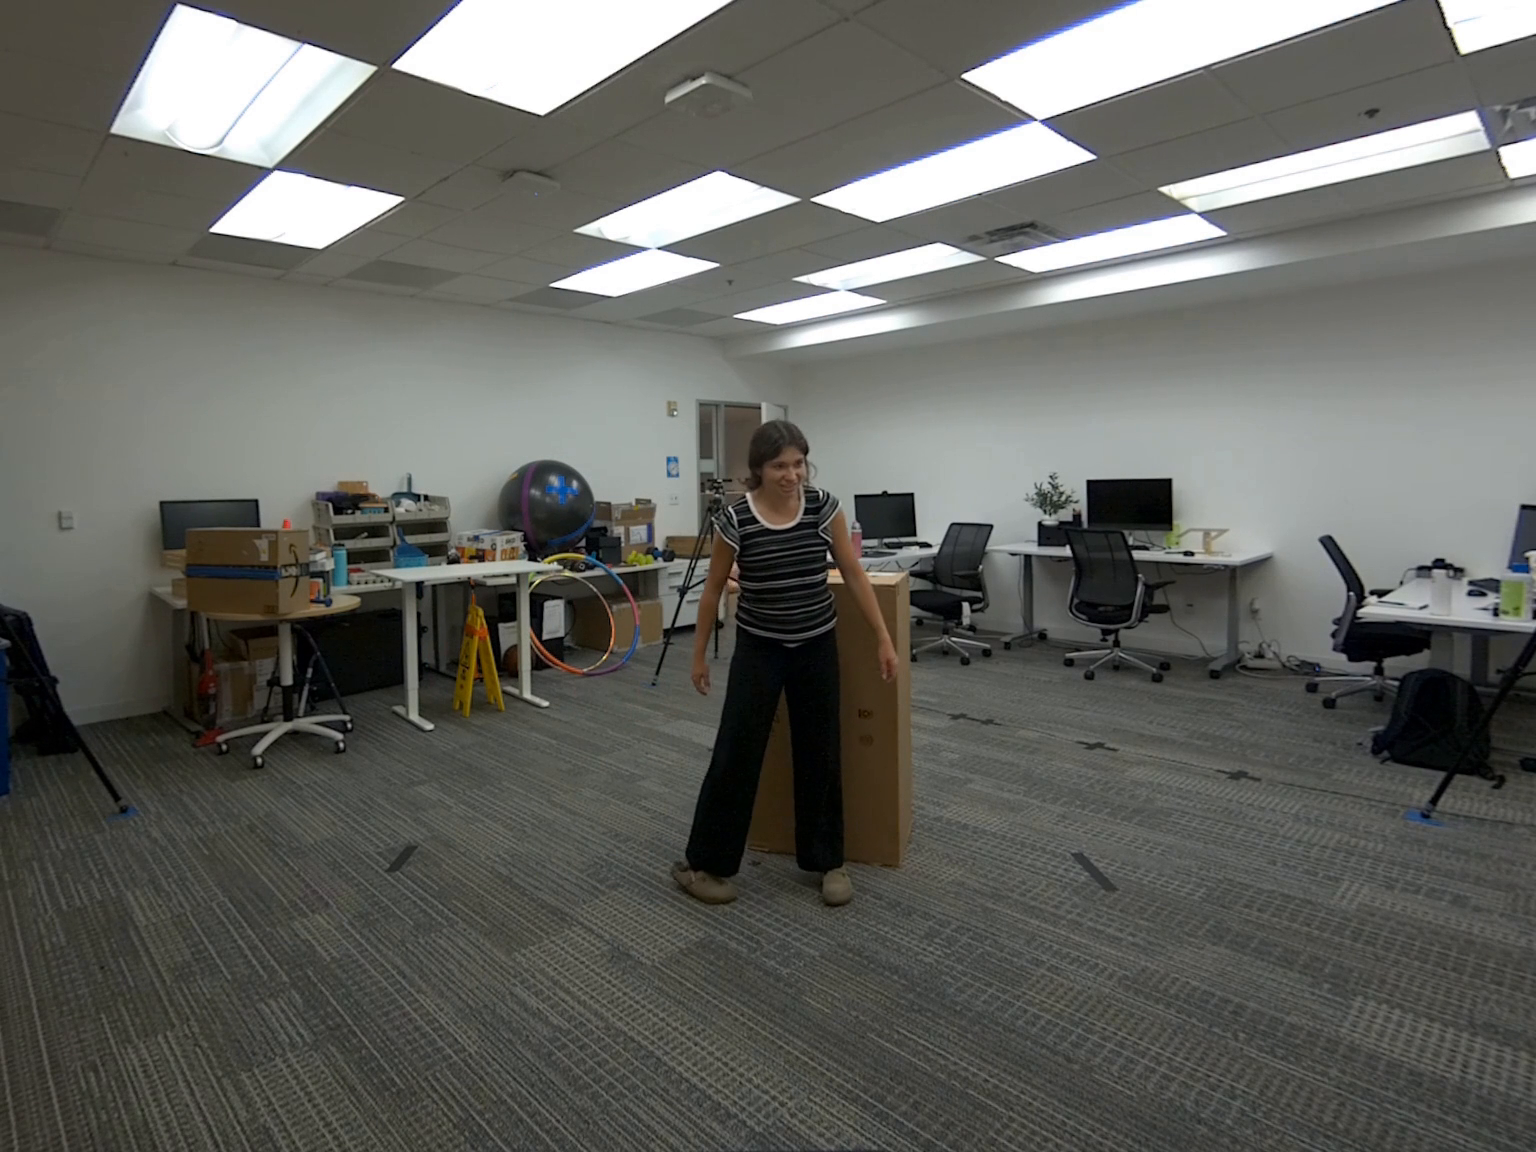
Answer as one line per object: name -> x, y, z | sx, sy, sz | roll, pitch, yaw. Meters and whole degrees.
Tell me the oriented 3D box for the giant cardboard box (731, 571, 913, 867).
giant cardboard box -> 0.241, 0.506, 3.307 | 0.587, 1.022, 0.420 | 0, 4, 17
